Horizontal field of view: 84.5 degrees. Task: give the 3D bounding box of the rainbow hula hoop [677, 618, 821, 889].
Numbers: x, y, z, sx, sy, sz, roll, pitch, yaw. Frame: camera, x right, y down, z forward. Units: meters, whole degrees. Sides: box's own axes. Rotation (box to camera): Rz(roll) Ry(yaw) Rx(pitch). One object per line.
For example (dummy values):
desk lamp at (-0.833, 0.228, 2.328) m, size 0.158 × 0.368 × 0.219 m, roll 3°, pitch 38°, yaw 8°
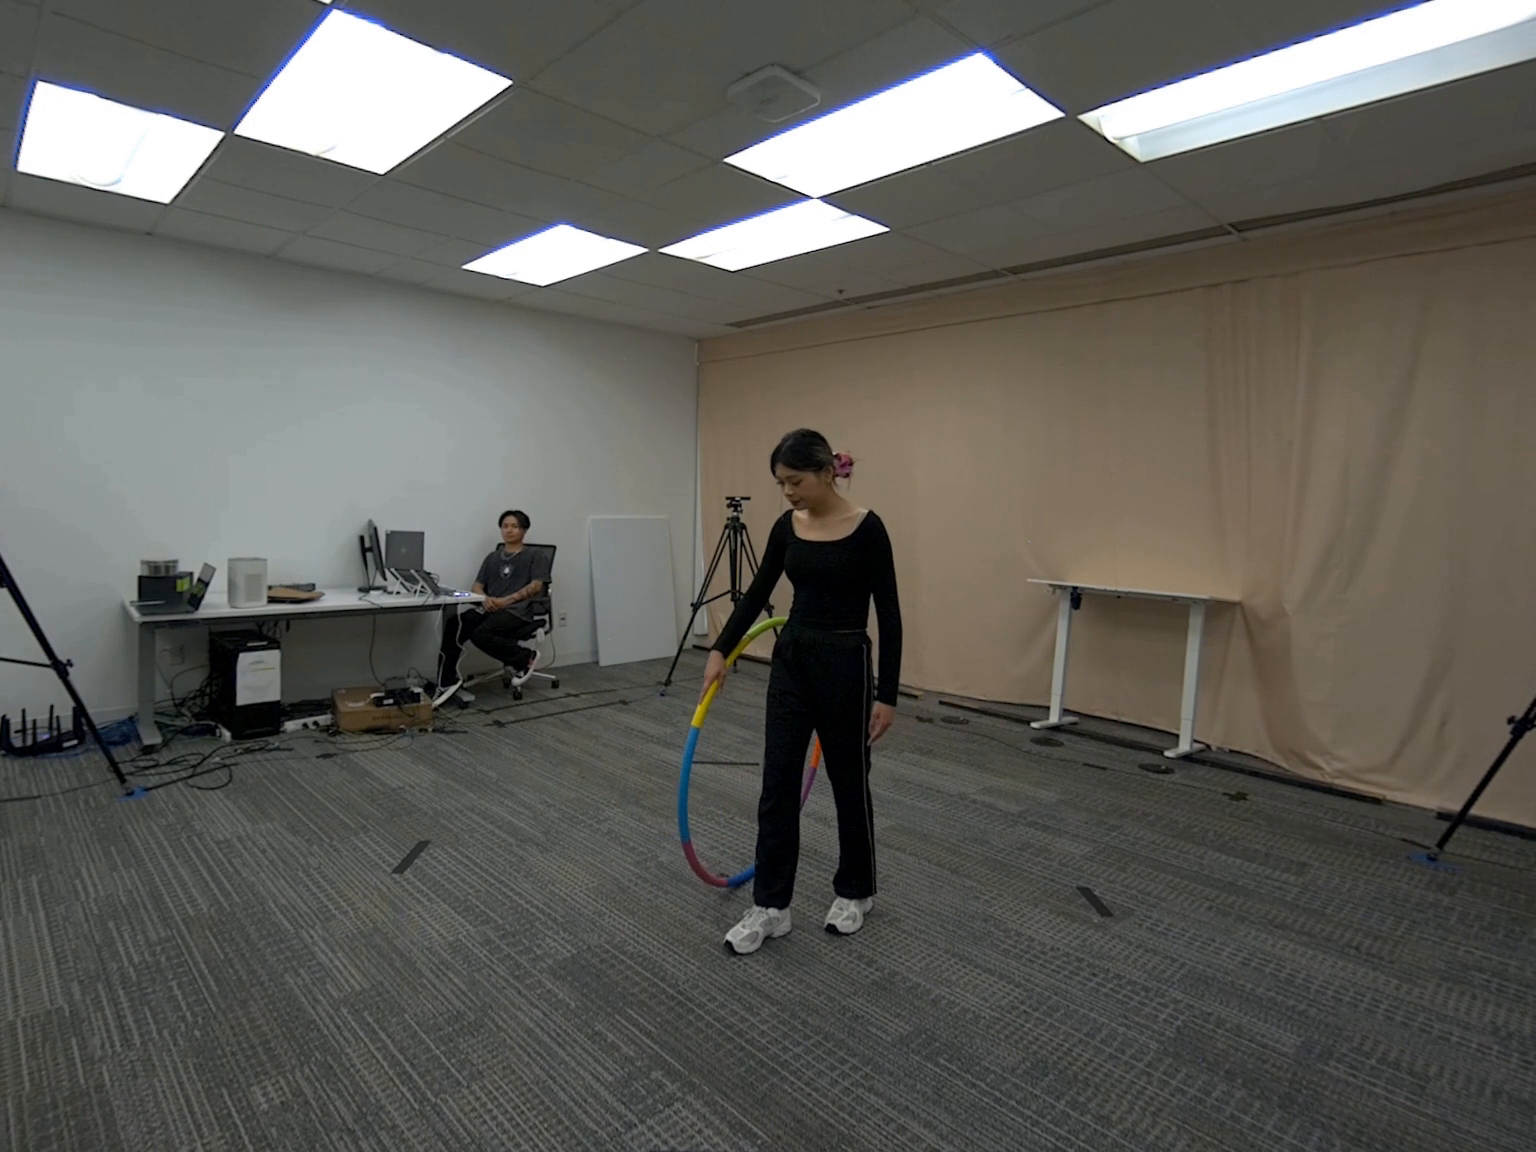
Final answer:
rainbow hula hoop at (-0.023, 0.633, 3.060) m, size 0.036 × 0.974 × 0.960 m, roll 9°, pitch 8°, yaw 29°
